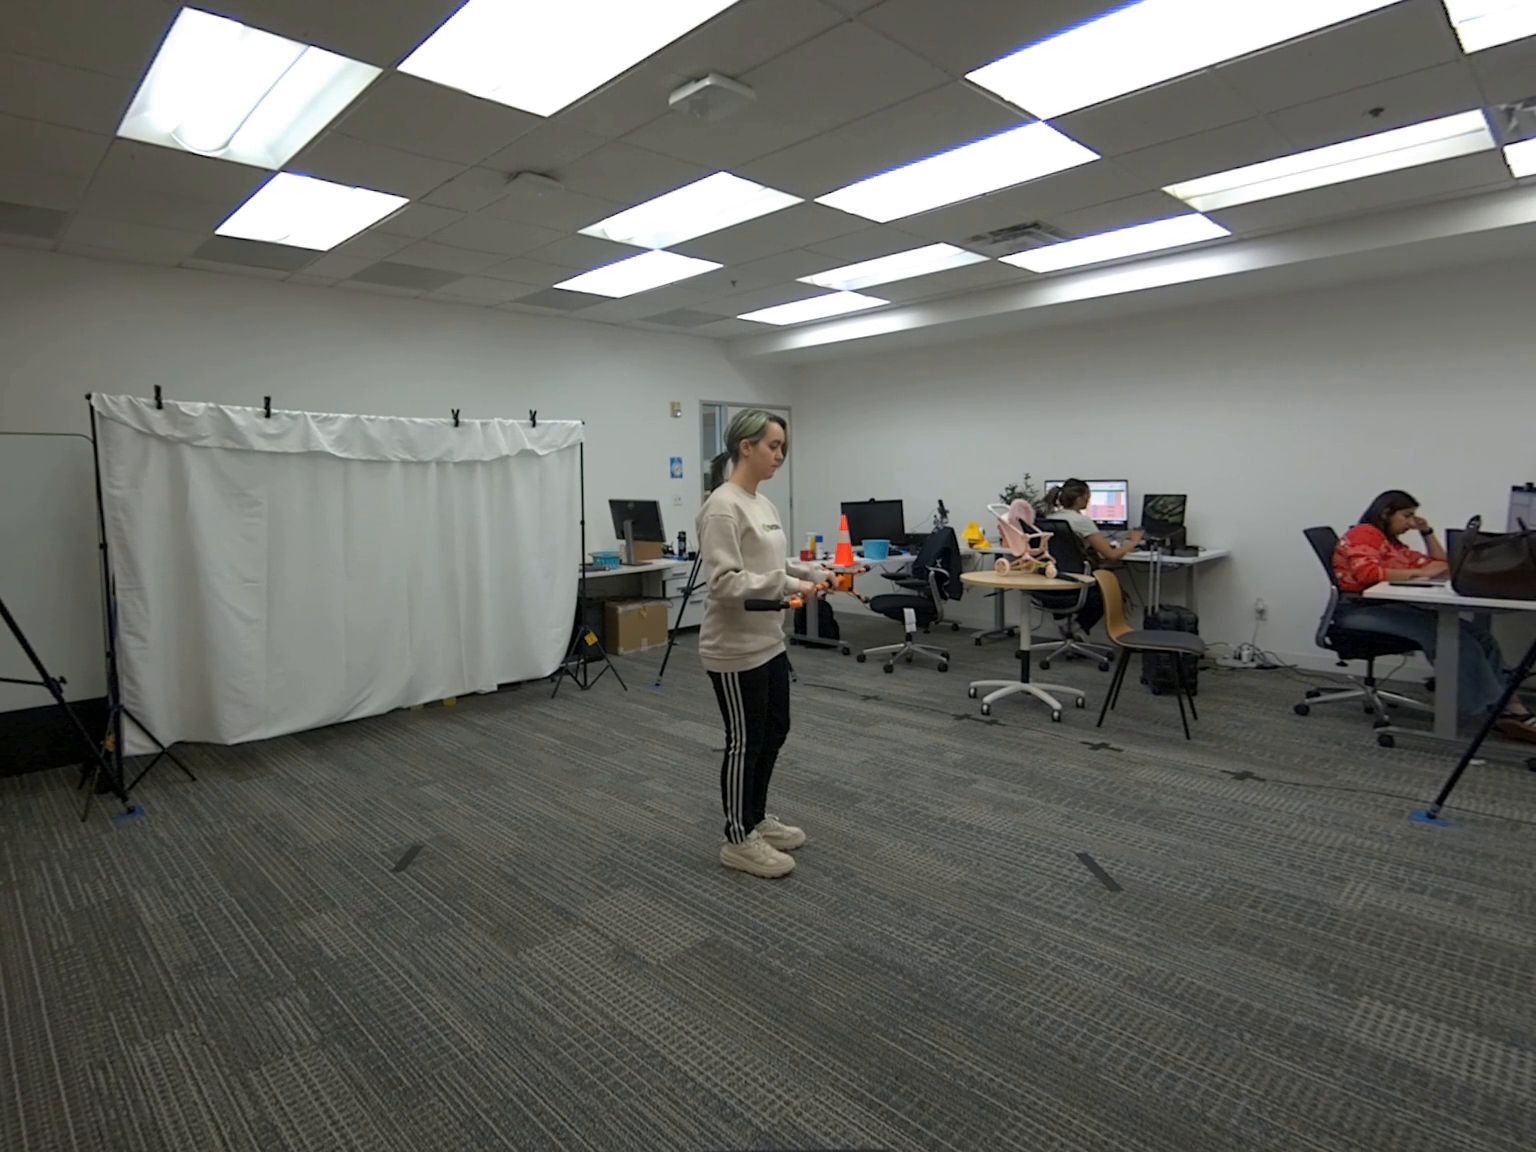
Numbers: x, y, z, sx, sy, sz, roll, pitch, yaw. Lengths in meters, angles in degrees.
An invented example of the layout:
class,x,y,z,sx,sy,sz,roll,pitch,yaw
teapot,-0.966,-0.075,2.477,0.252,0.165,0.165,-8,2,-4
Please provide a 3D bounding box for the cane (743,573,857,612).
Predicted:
class,x,y,z,sx,sy,sz,roll,pitch,yaw
cane,0.173,0.065,2.918,0.210,0.151,0.893,3,5,19
